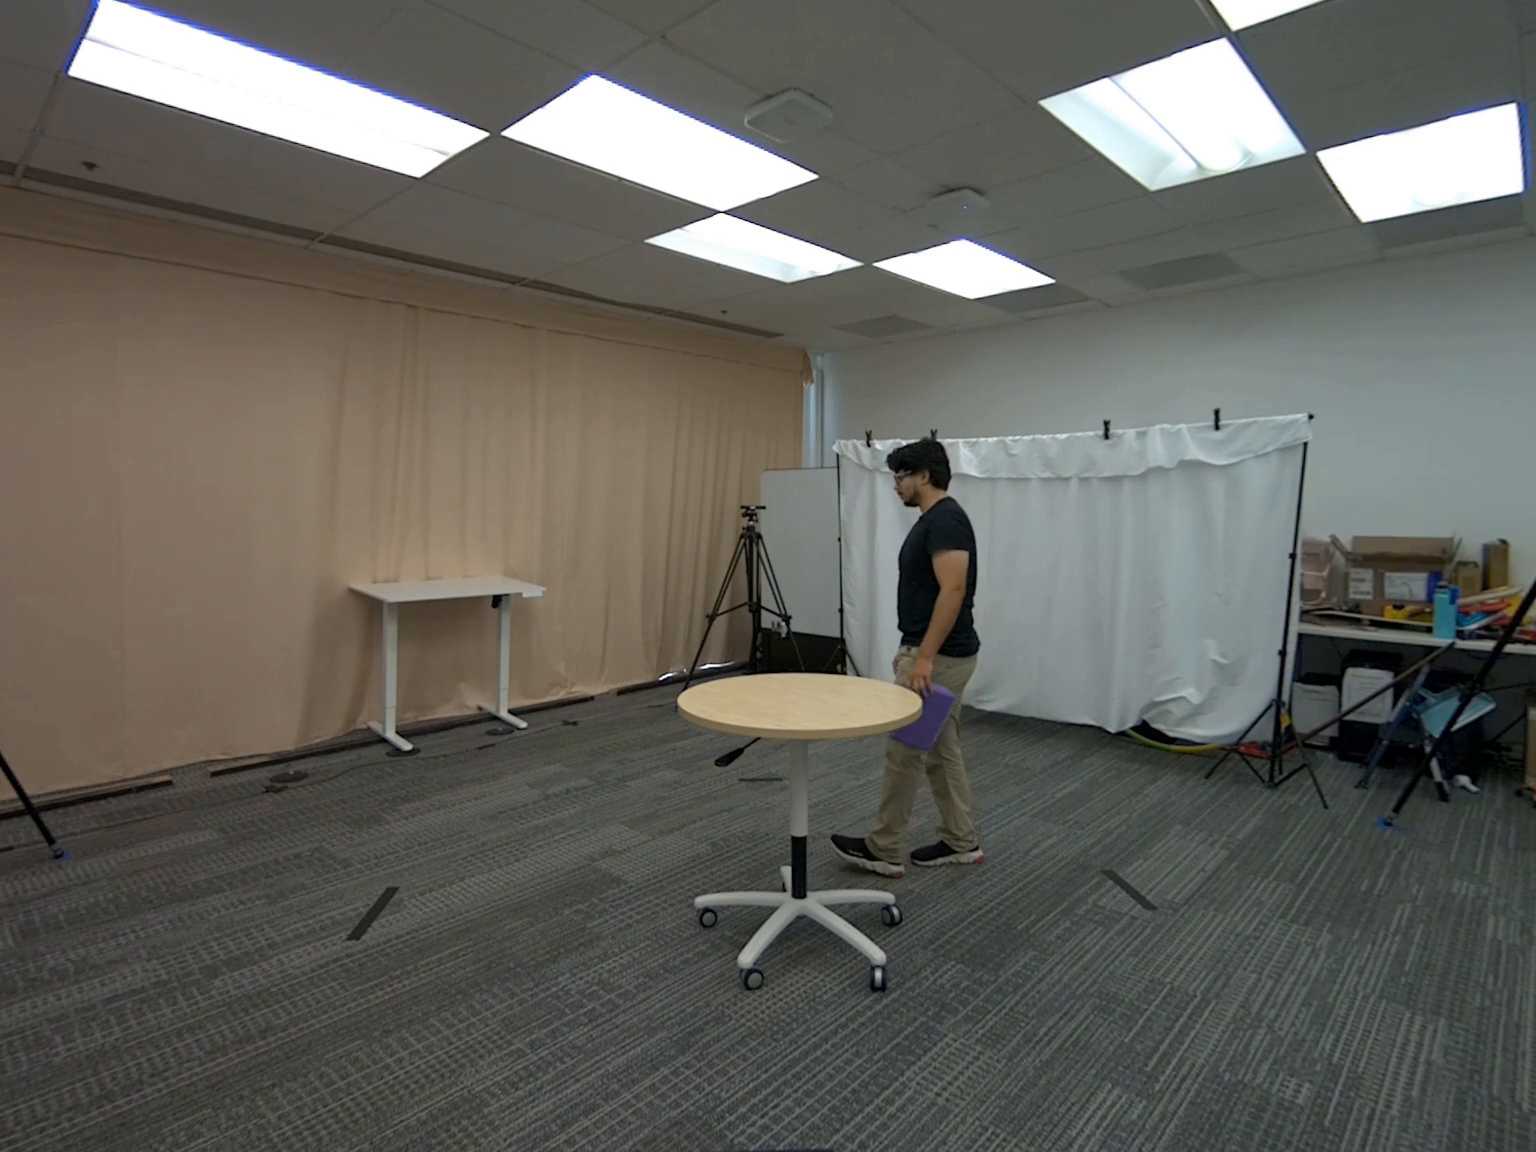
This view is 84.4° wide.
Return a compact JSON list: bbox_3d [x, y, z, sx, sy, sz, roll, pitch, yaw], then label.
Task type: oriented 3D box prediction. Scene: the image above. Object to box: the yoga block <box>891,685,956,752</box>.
[{"bbox_3d":[0.541,0.490,2.991,0.147,0.229,0.077,22,9,-11],"label":"yoga block"}]
